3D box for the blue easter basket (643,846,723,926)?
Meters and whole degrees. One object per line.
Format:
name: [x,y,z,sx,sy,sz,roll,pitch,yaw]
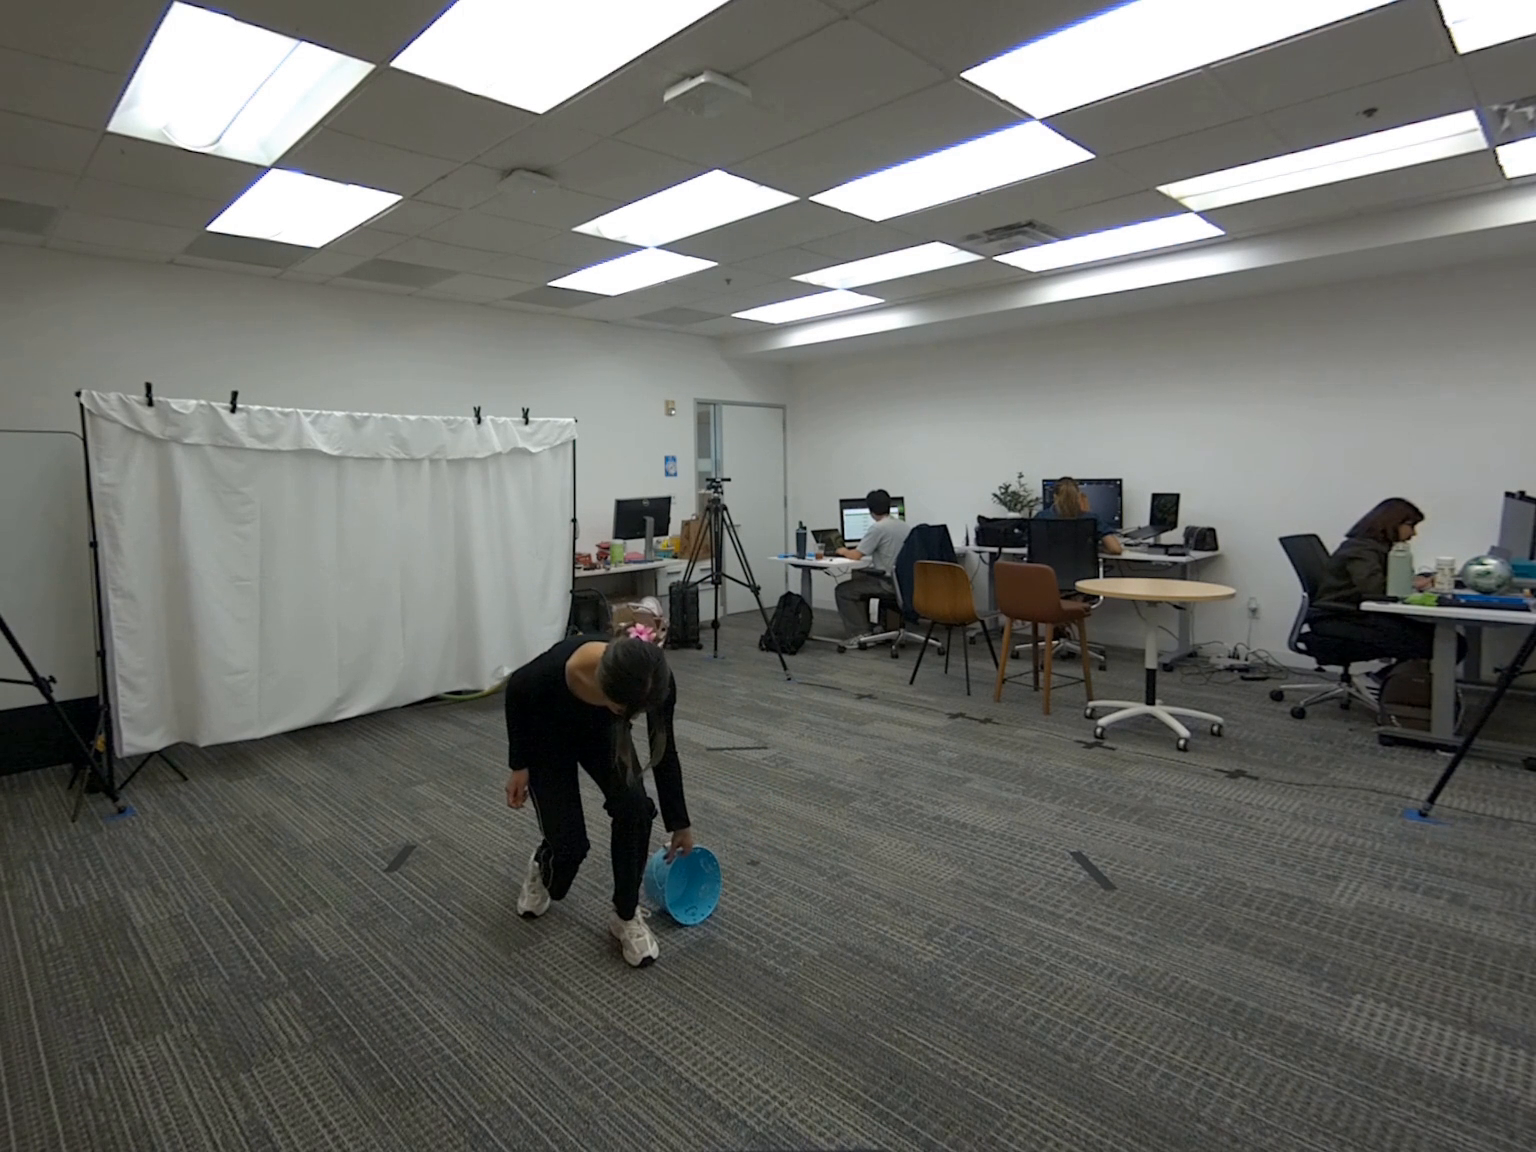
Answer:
blue easter basket: [-0.275,0.979,2.764,0.237,0.244,0.159,-5,-3,-42]
